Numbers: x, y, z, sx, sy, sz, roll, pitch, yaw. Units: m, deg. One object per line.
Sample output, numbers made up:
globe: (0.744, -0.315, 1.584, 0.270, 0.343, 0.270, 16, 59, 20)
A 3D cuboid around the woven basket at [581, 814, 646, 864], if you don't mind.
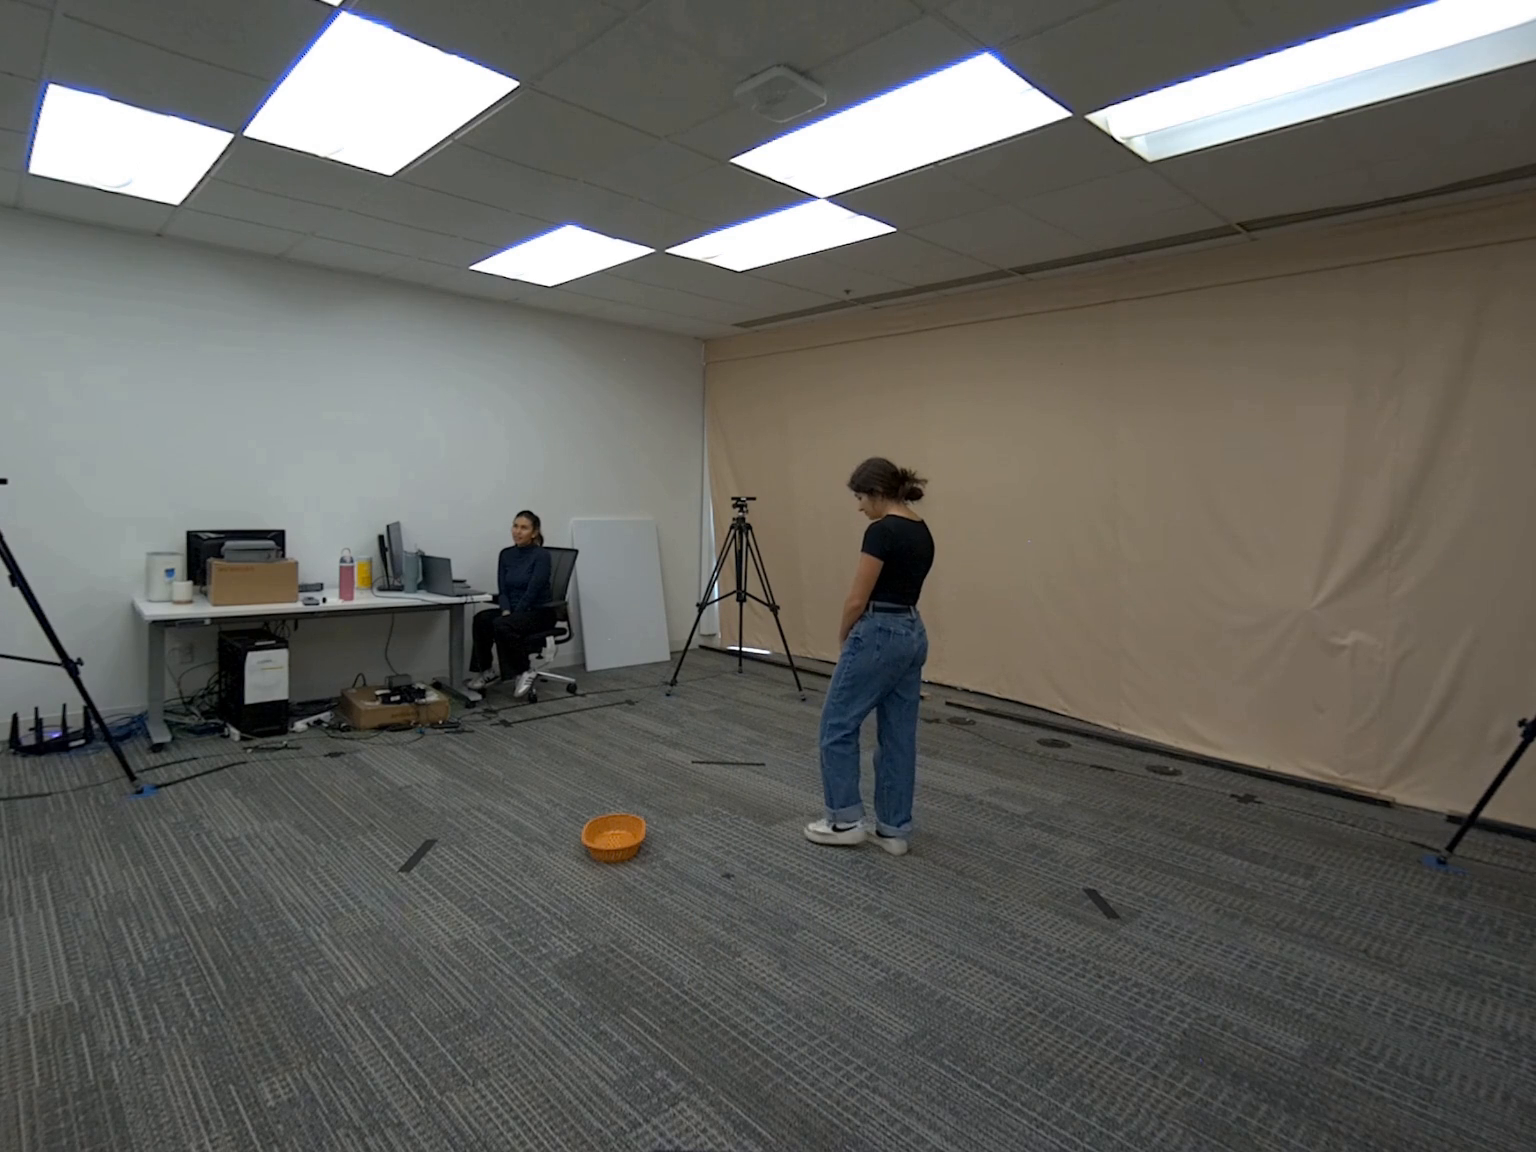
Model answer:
woven basket: (-0.618, 1.039, 3.328, 0.252, 0.073, 0.352, 0, 6, -3)
